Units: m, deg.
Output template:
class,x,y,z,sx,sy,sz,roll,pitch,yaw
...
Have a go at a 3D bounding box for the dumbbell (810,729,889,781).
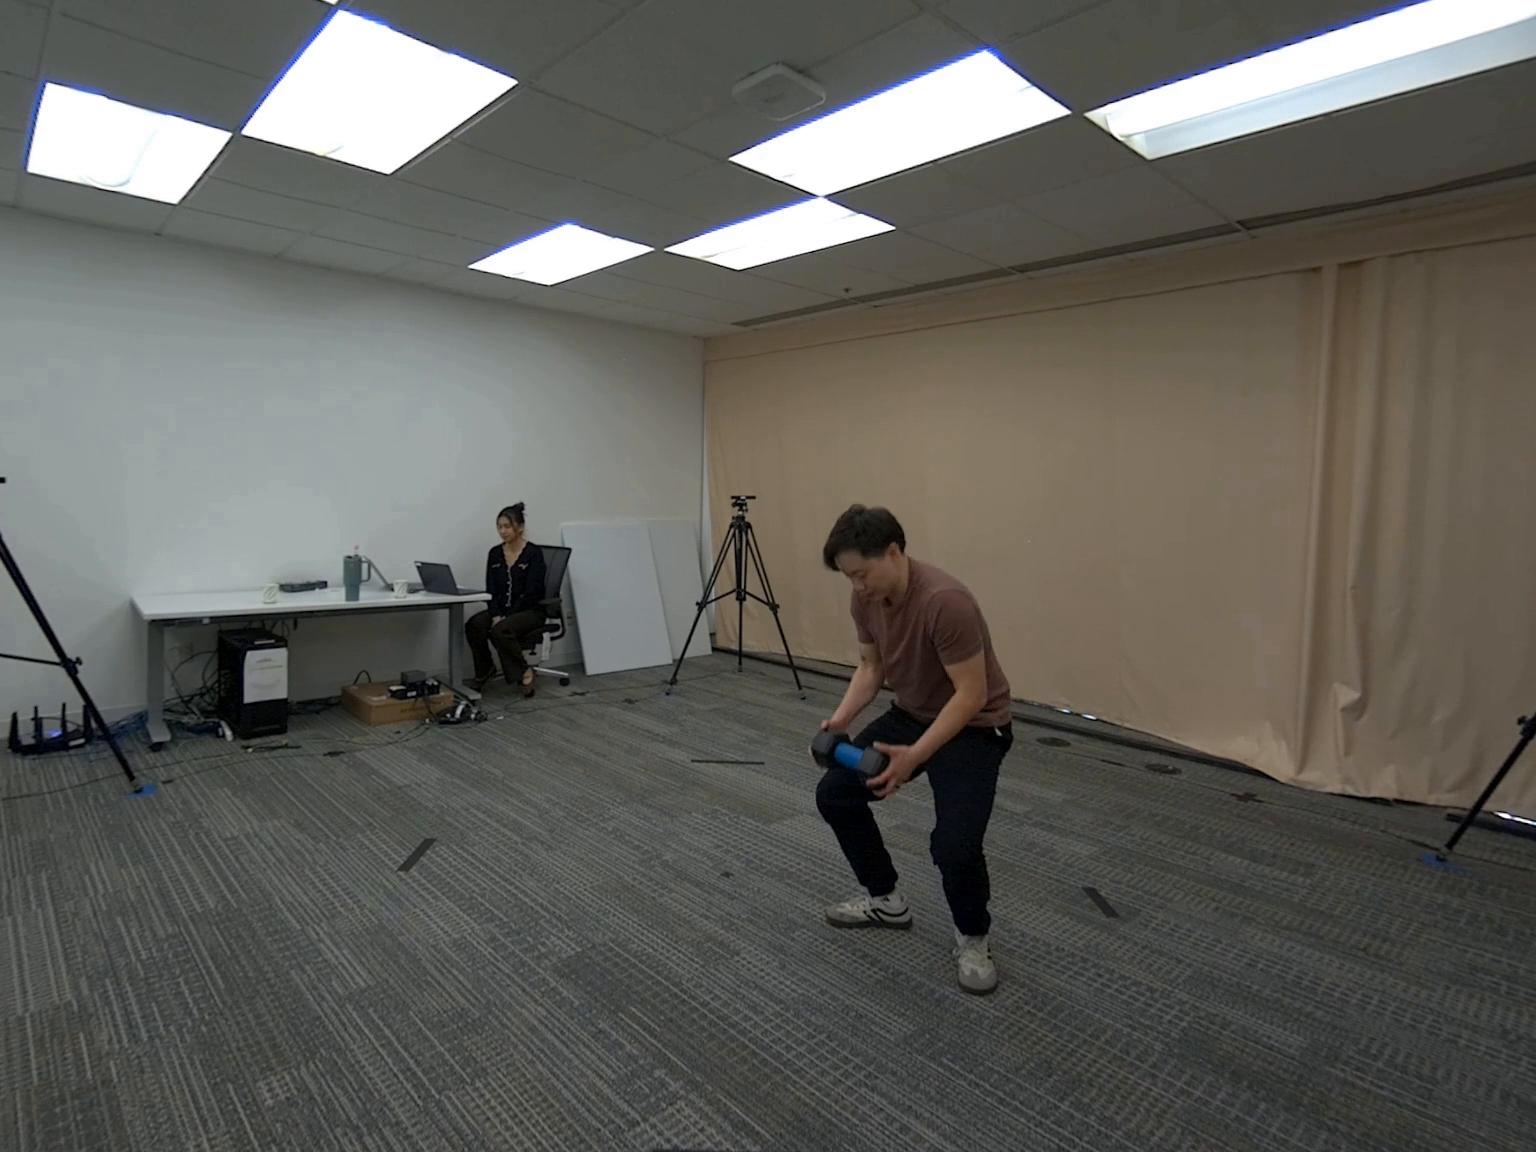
class,x,y,z,sx,sy,sz,roll,pitch,yaw
dumbbell,0.256,0.537,2.454,0.108,0.121,0.300,-31,18,-22
